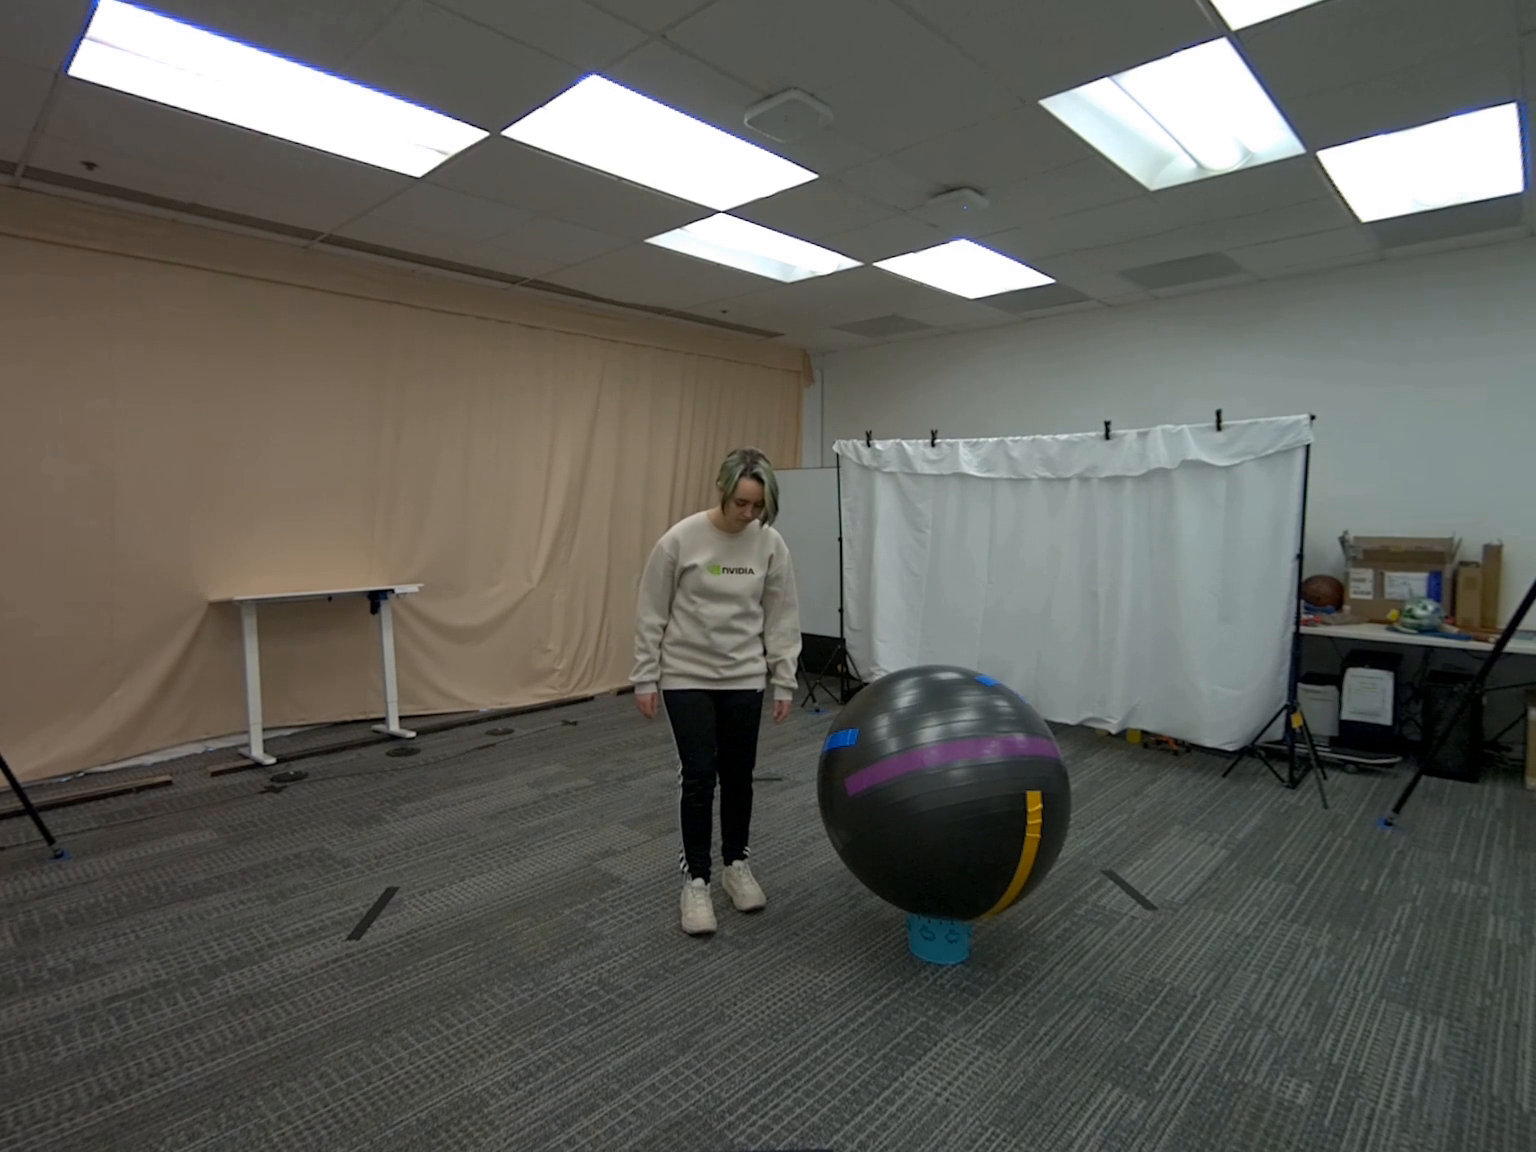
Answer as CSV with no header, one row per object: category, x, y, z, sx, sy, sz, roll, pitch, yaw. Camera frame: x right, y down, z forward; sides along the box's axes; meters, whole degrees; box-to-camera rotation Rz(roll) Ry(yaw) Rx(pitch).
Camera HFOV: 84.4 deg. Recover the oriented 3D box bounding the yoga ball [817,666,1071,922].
yoga ball,0.540,0.665,2.616,0.757,0.756,0.761,0,4,-2
